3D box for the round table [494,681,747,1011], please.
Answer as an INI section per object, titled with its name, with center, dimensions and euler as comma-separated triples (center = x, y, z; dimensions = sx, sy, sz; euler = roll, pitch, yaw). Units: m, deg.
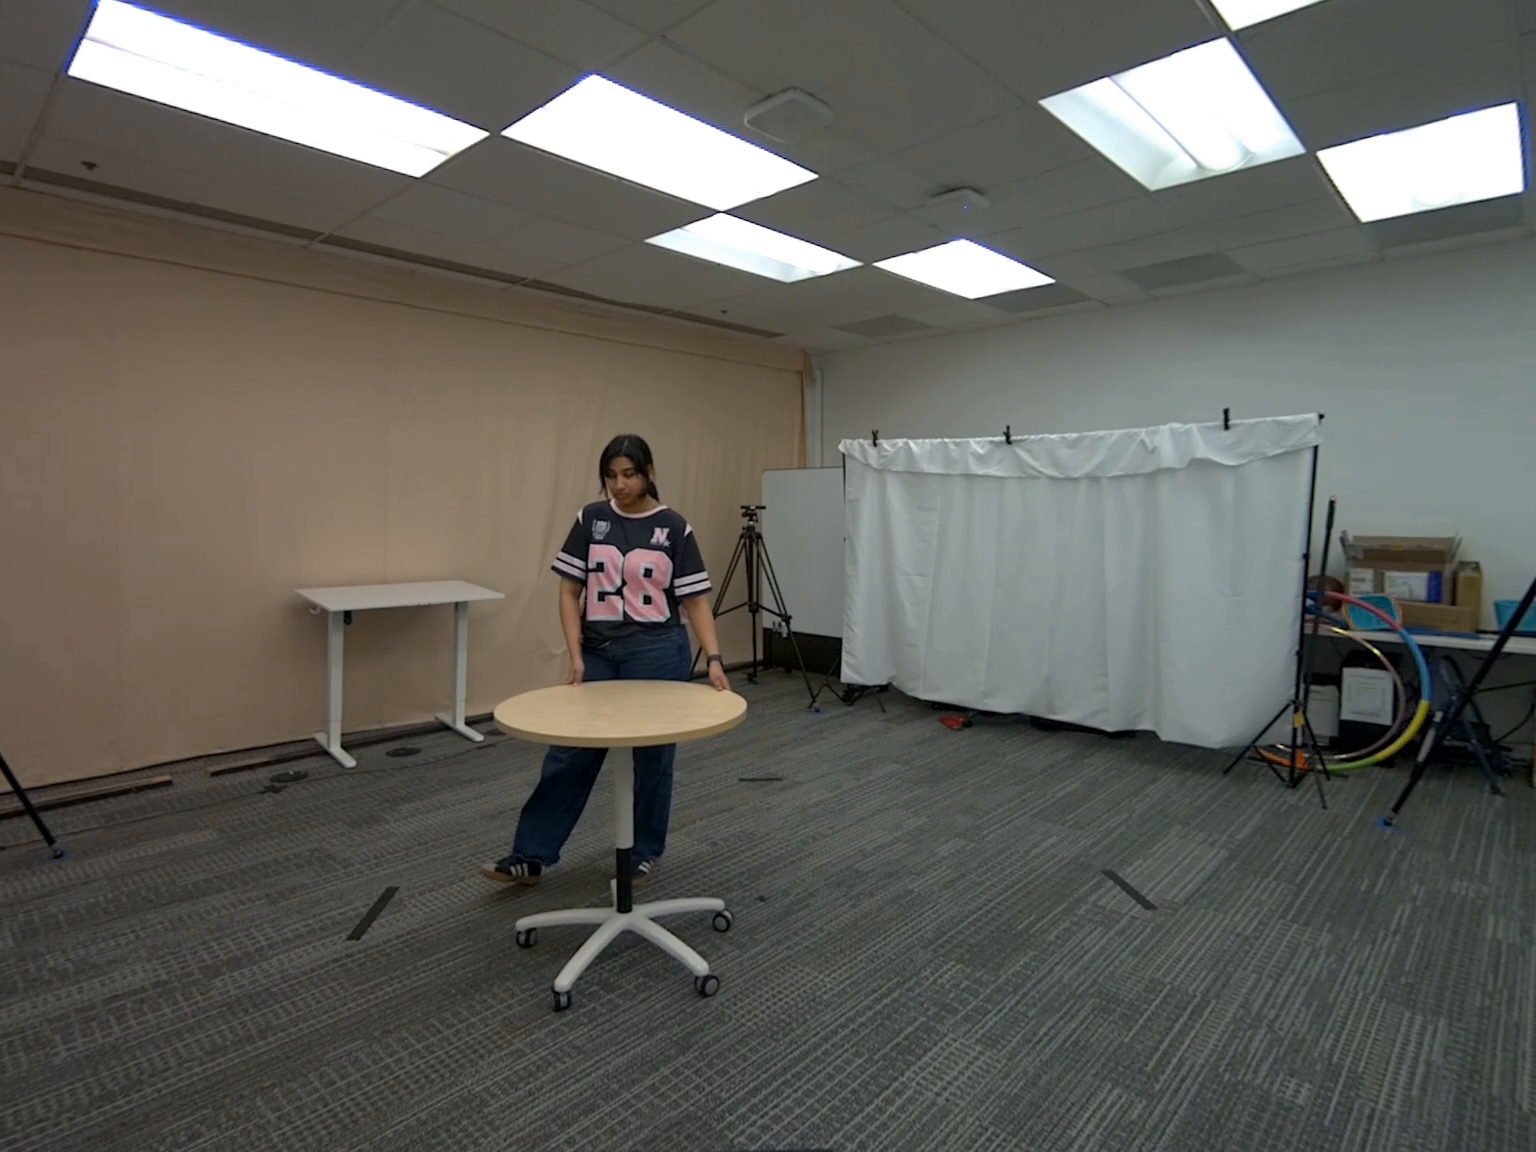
[round table]
center = -0.447, 0.781, 2.592
dimensions = 0.784, 0.785, 0.787
euler = 0, 3, -2
